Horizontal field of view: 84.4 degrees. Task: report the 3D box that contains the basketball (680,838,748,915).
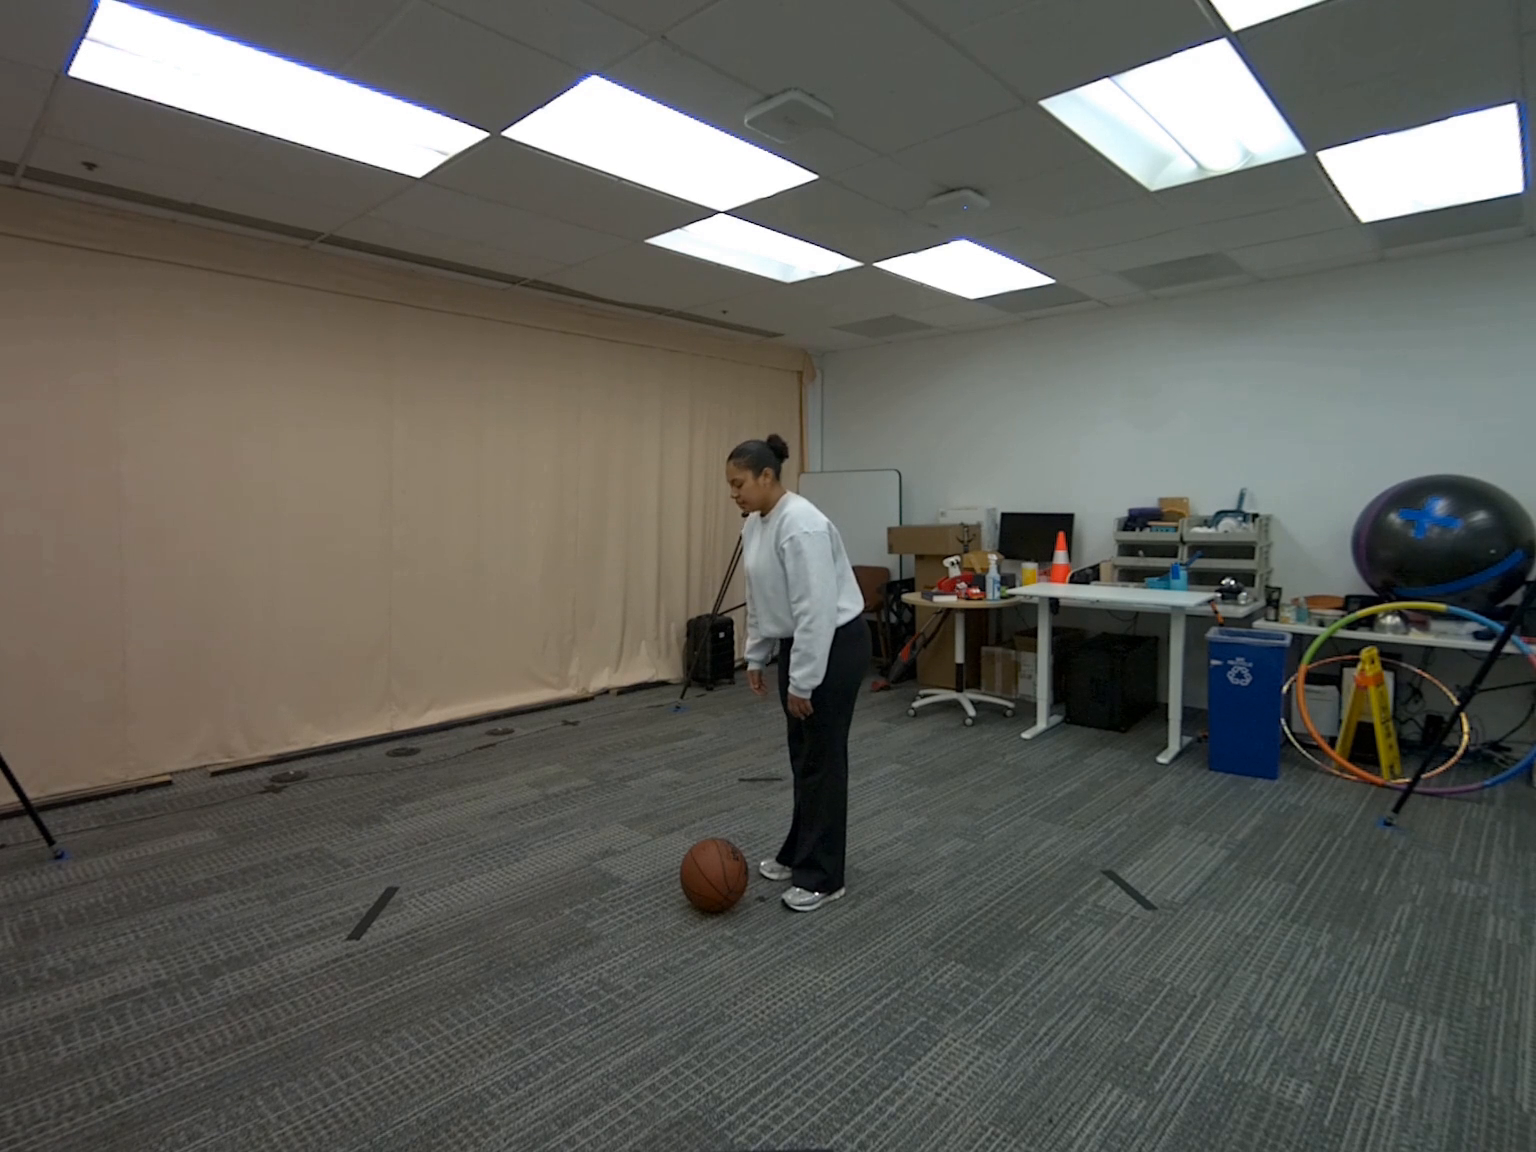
[{"bbox_3d":[-0.179,1.028,2.909,0.236,0.235,0.237,0,4,-2],"label":"basketball"}]
